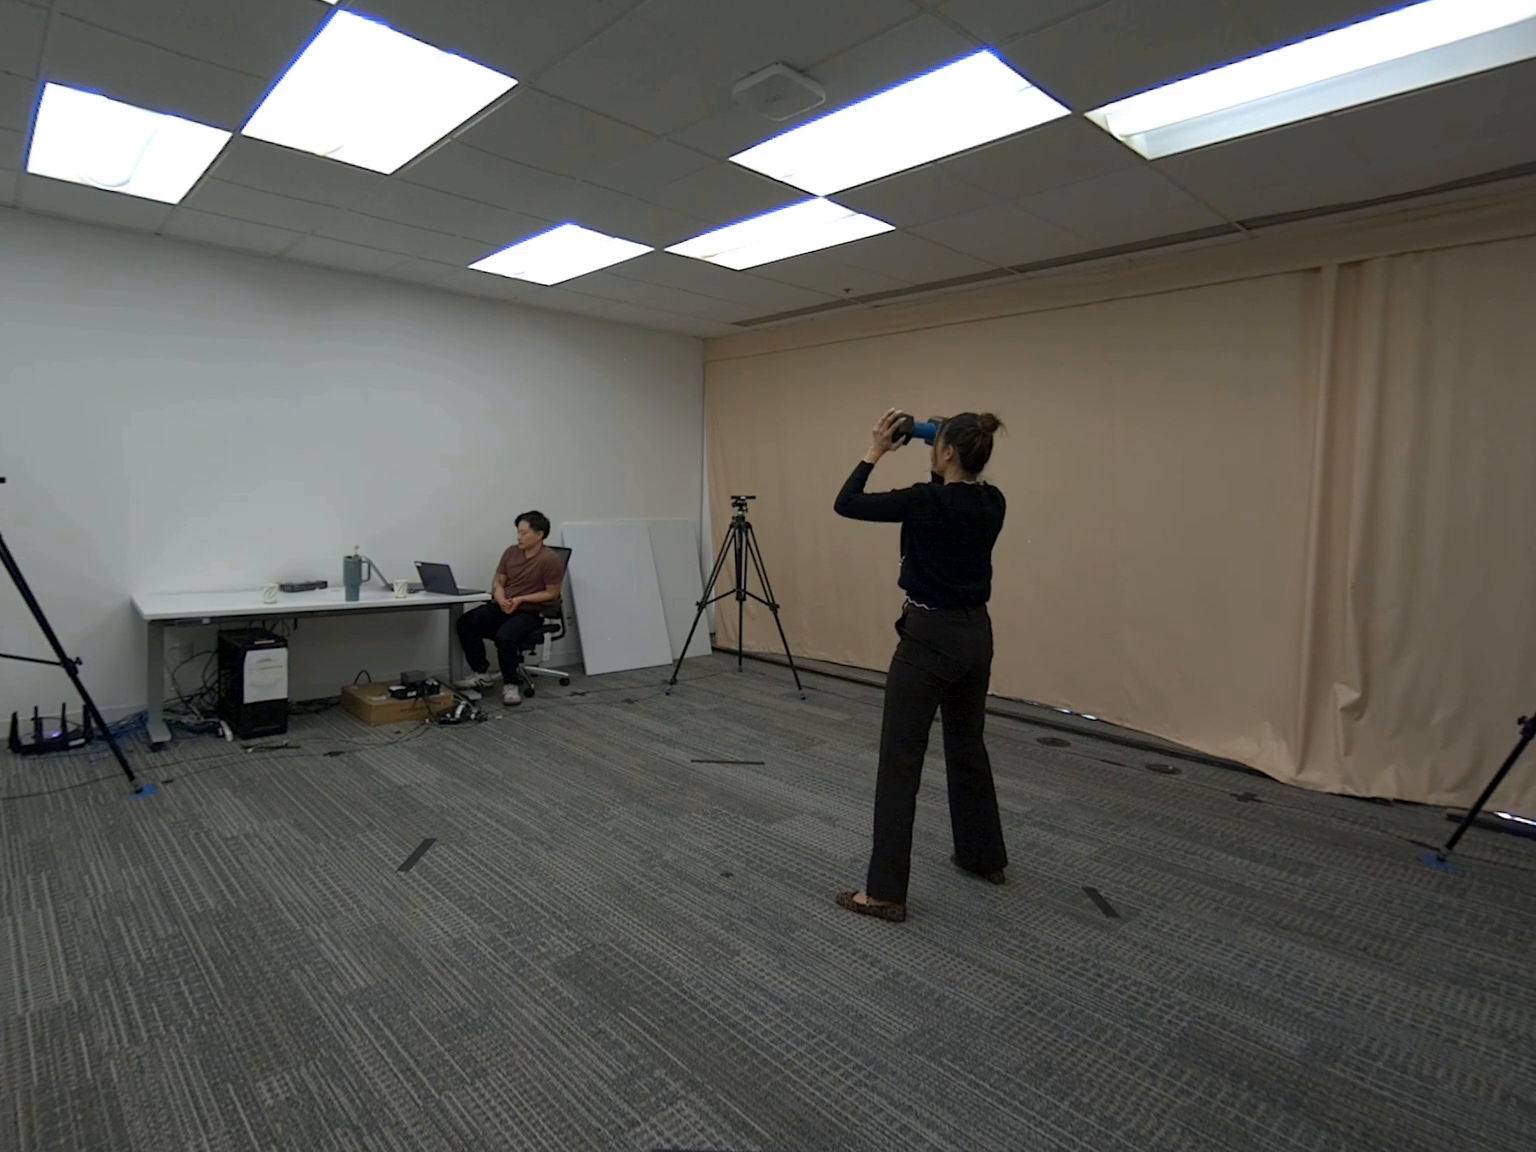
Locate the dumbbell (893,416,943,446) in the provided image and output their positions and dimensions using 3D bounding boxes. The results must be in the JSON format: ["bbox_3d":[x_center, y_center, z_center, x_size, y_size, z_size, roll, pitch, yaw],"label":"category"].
[{"bbox_3d":[0.551,-0.529,3.043,0.287,0.111,0.122,-2,-34,-33],"label":"dumbbell"}]
